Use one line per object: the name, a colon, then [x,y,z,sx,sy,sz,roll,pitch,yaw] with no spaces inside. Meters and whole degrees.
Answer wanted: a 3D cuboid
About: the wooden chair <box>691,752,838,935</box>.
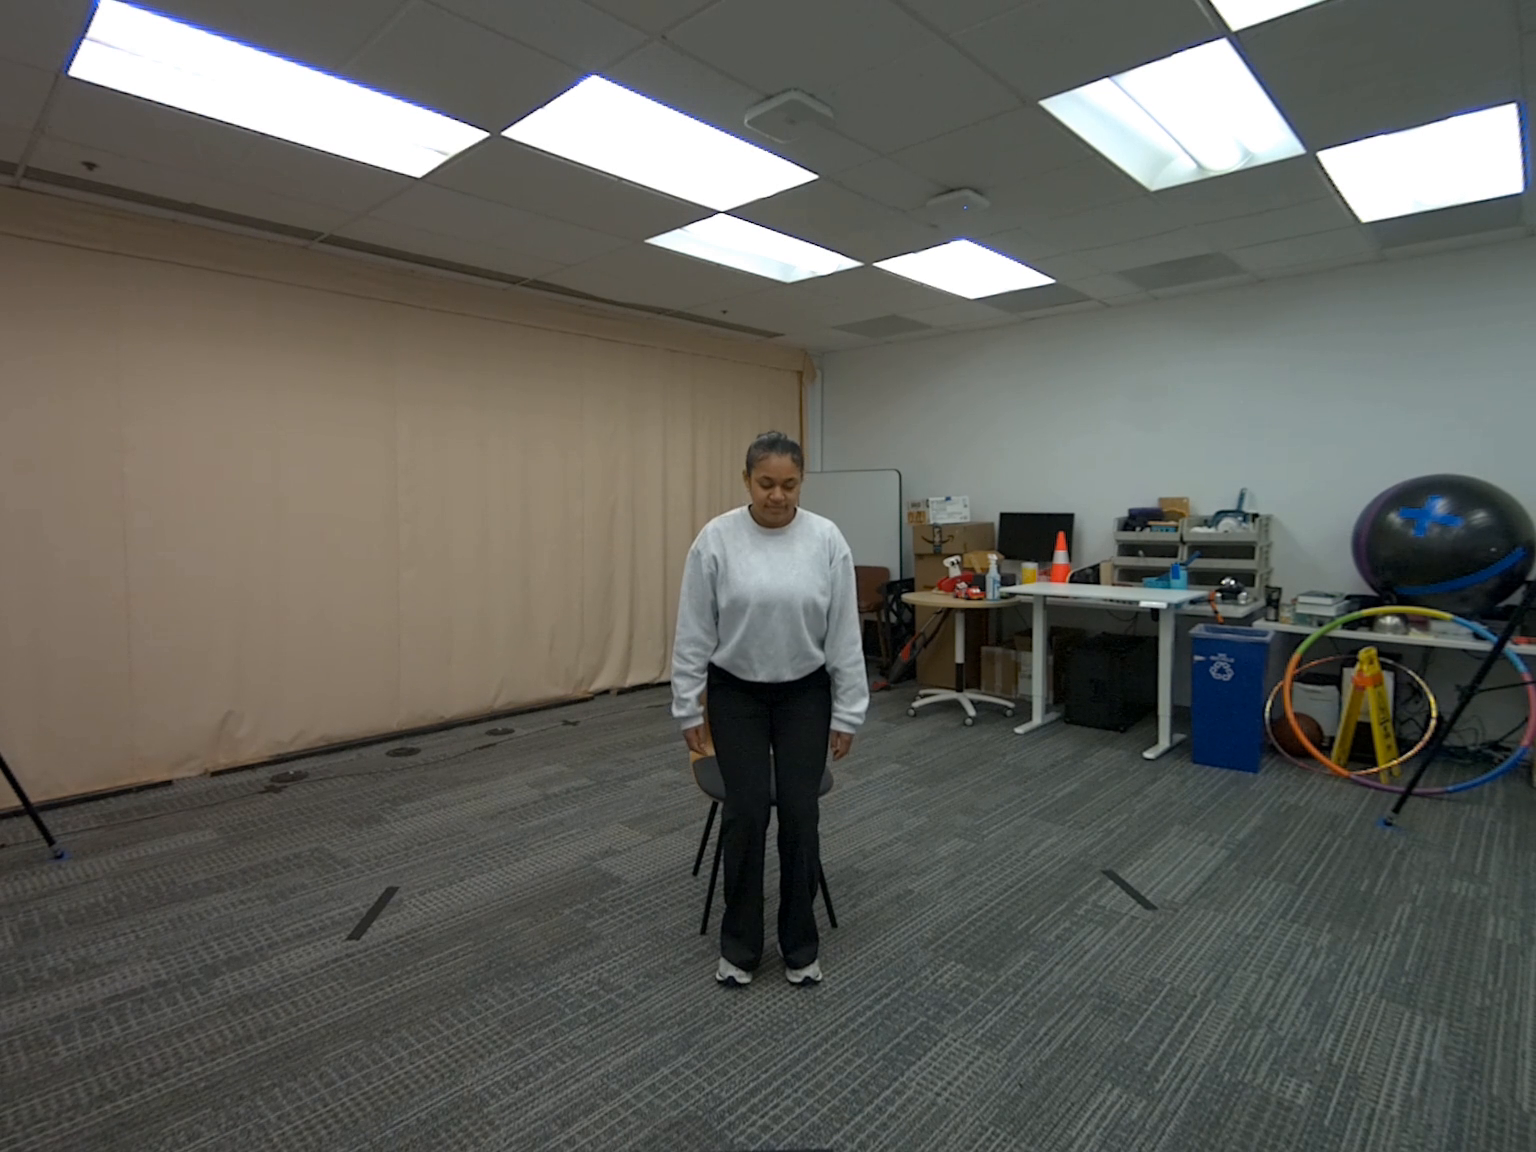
wooden chair: [-0.025,0.715,2.939,0.475,0.878,0.527,0,-1,-8]
